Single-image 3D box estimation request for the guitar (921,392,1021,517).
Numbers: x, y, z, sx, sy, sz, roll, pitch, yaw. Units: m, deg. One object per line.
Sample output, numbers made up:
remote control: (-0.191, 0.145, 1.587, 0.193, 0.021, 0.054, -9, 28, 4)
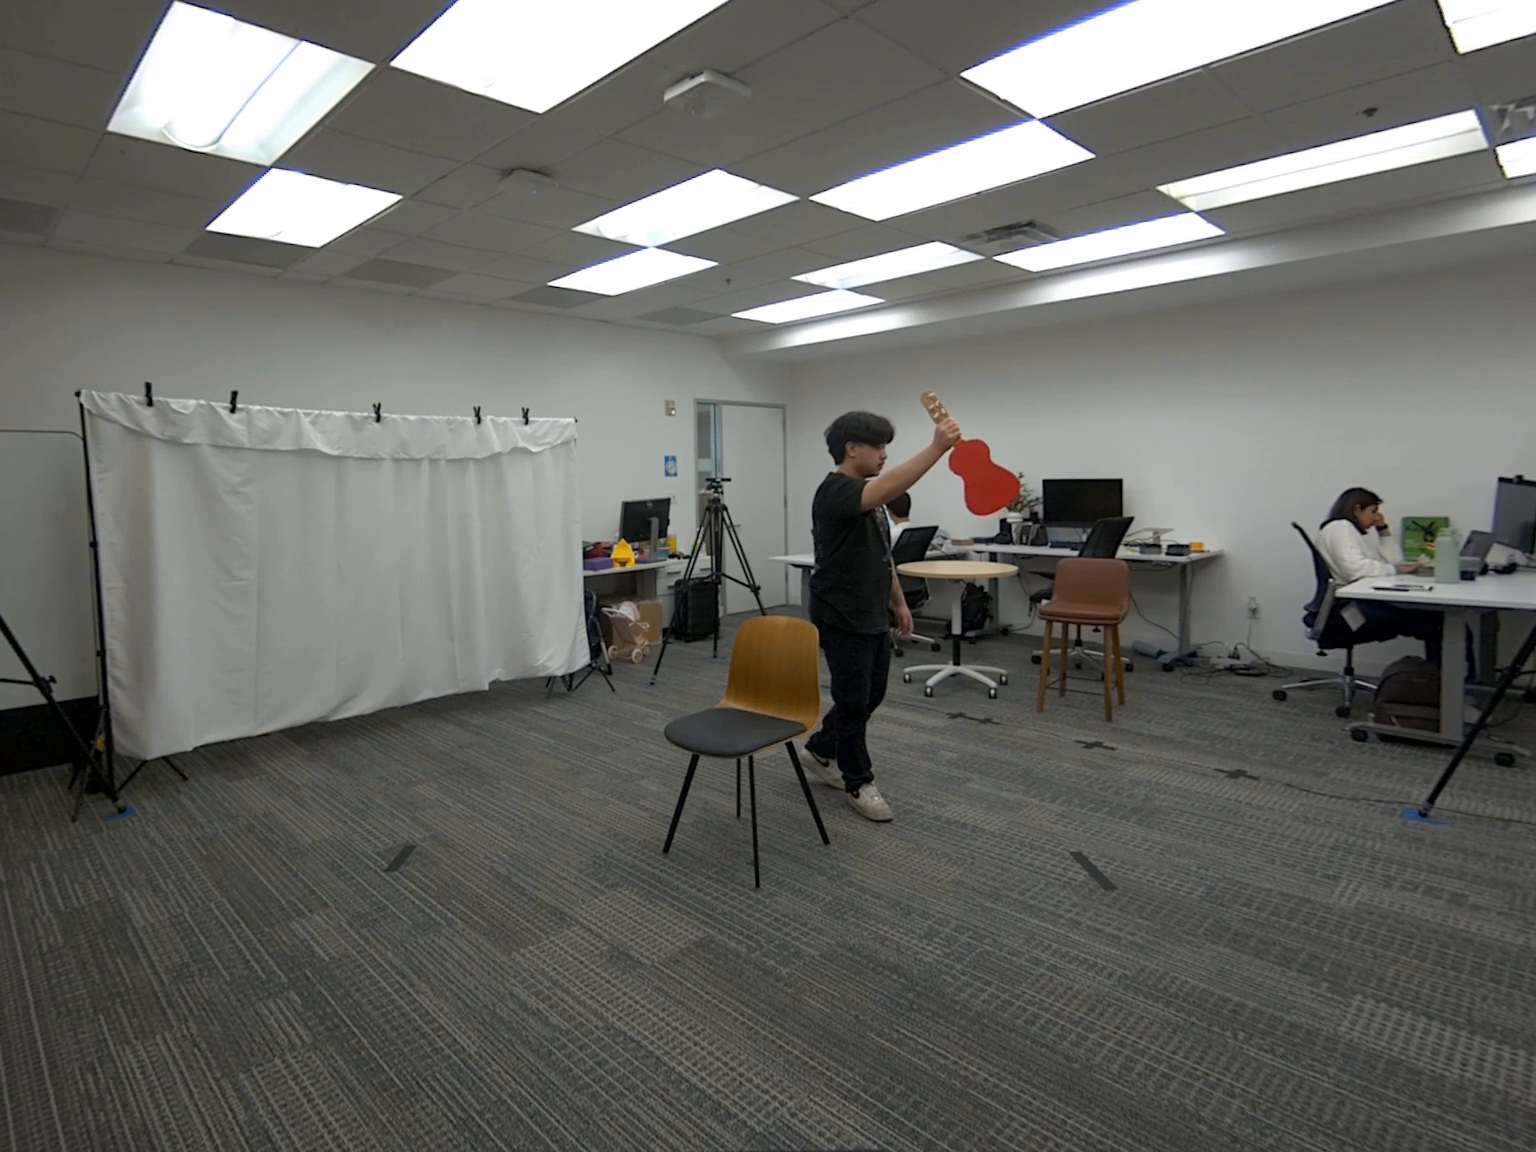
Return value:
guitar: (0.677, -0.435, 3.061, 0.193, 0.505, 0.069, -40, -10, 9)
